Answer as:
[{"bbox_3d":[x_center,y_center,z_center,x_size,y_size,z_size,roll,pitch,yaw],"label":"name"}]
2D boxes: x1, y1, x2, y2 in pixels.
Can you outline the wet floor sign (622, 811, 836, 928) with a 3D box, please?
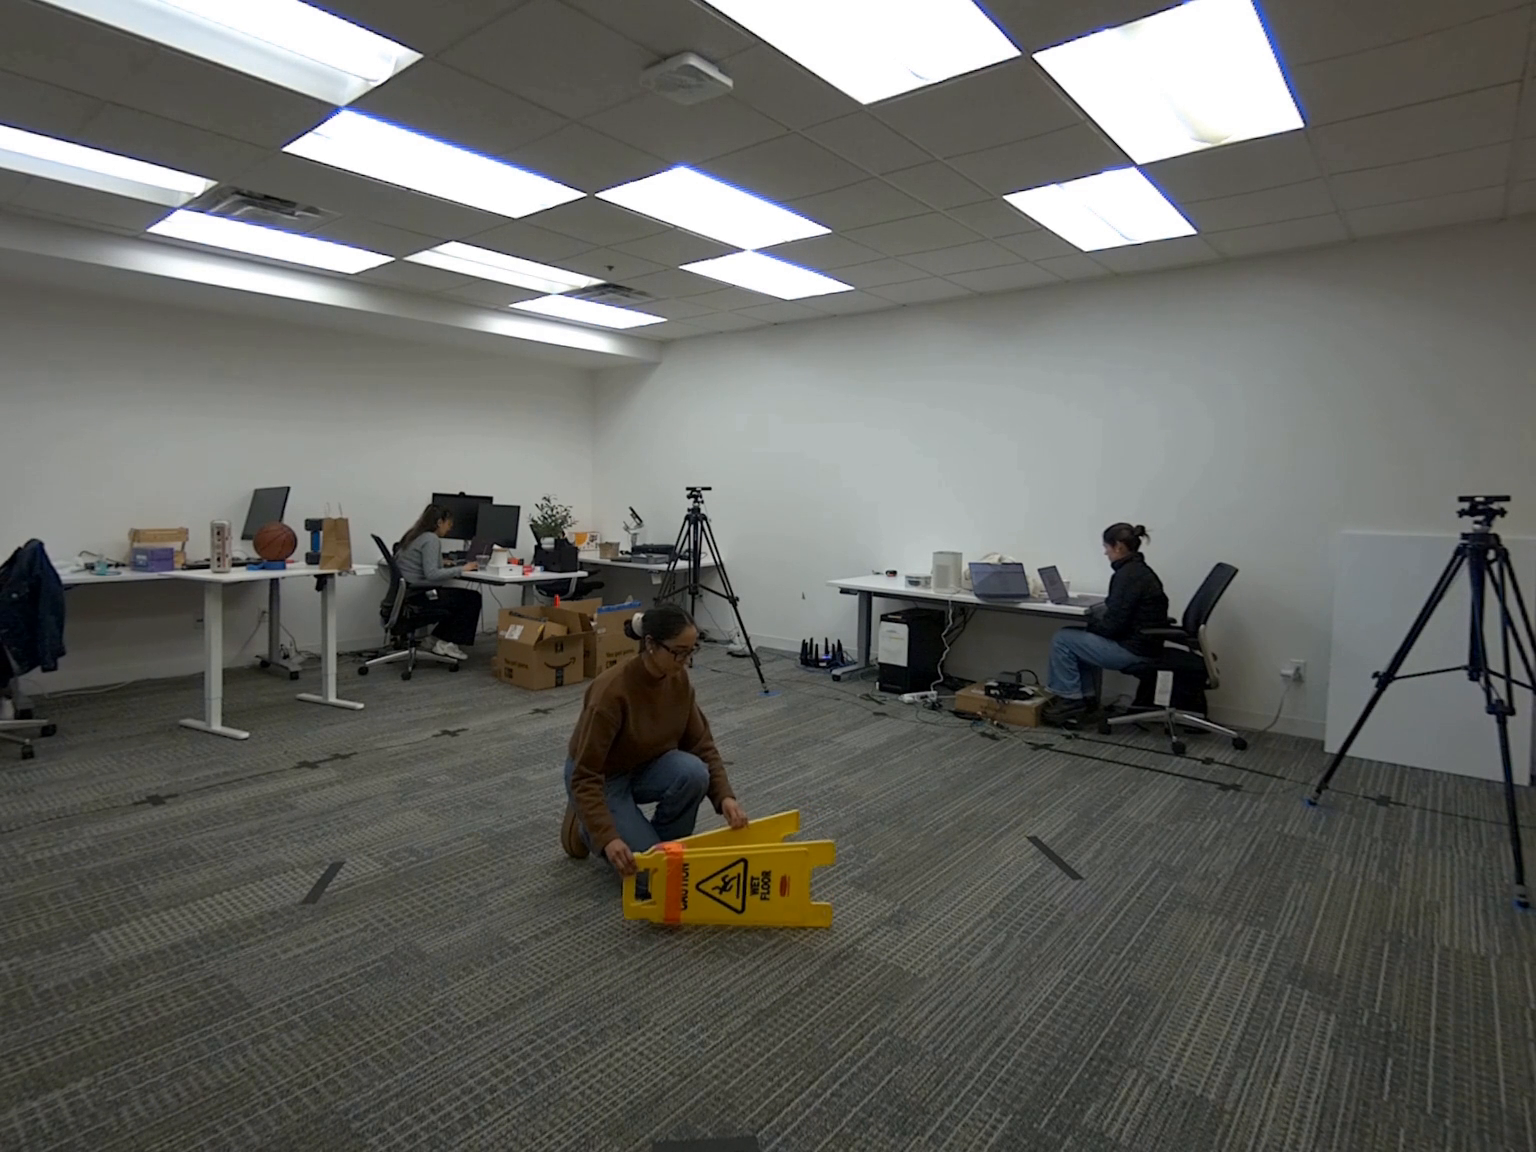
[{"bbox_3d":[-0.147,0.956,2.723,0.633,0.282,0.296,0,3,-20],"label":"wet floor sign"}]
